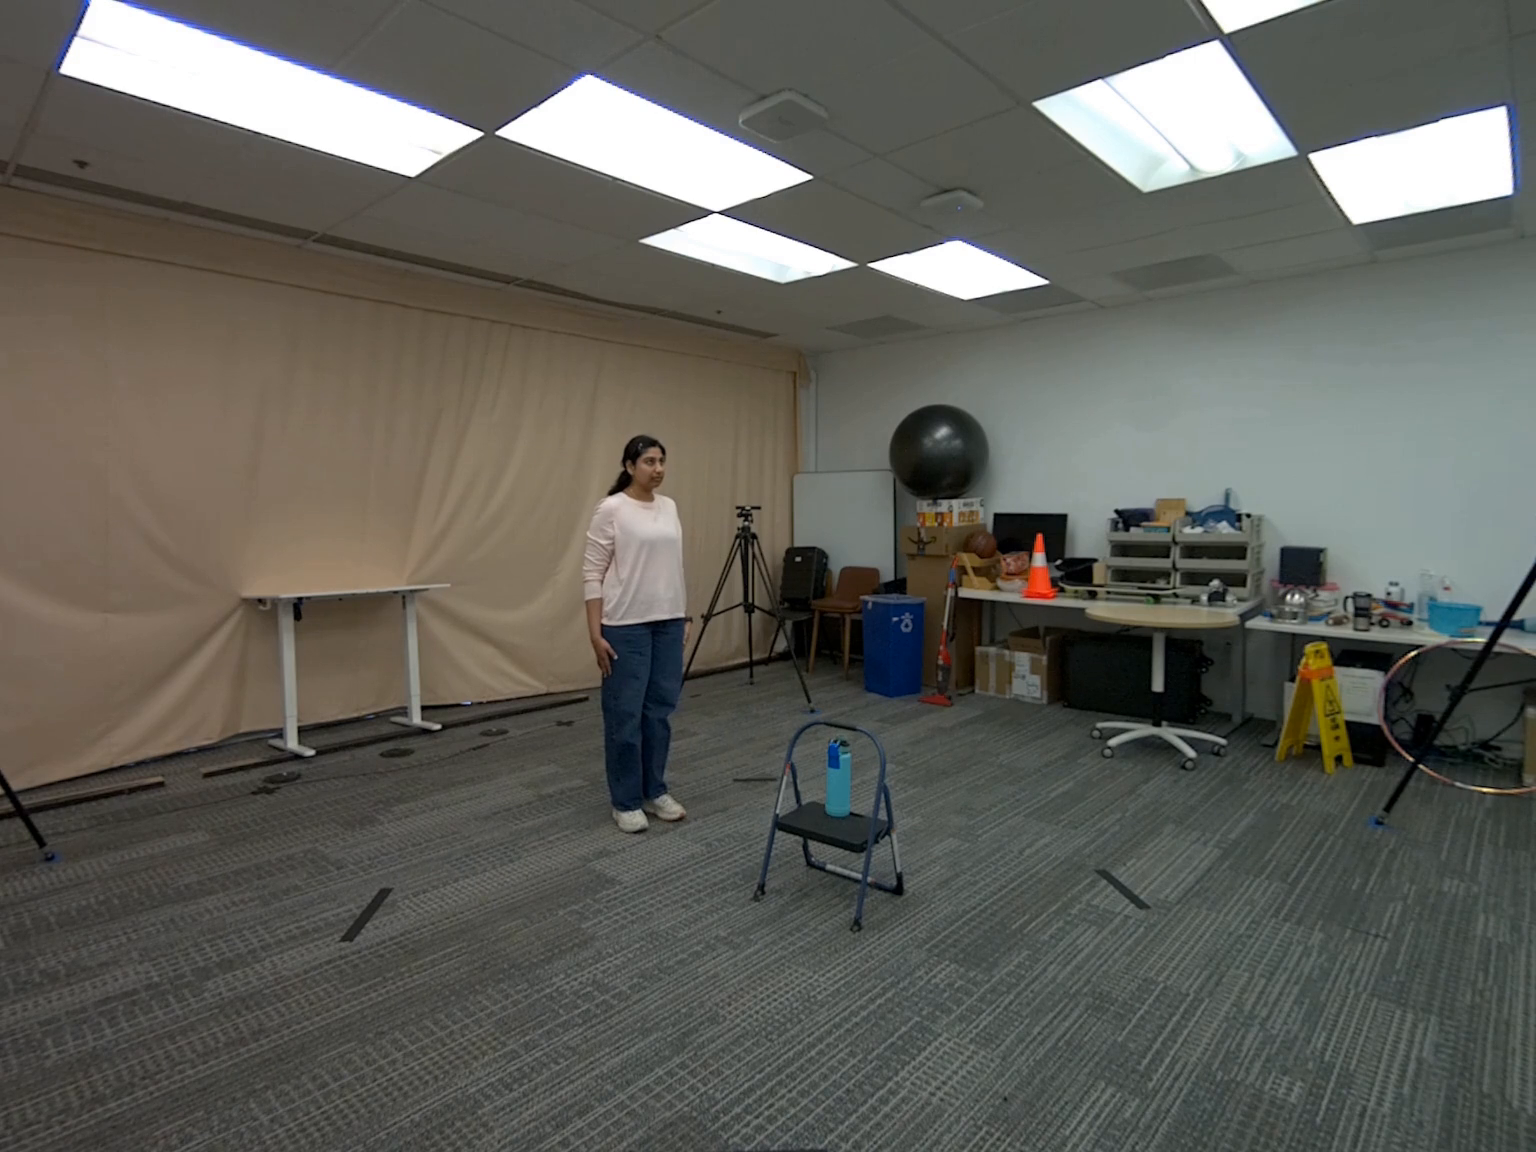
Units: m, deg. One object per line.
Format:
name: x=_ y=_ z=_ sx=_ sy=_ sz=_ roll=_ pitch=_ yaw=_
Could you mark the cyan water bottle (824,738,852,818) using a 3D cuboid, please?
cyan water bottle: x=0.261 y=0.735 z=3.088 sx=0.092 sy=0.283 sz=0.092 roll=3 pitch=3 yaw=-2
